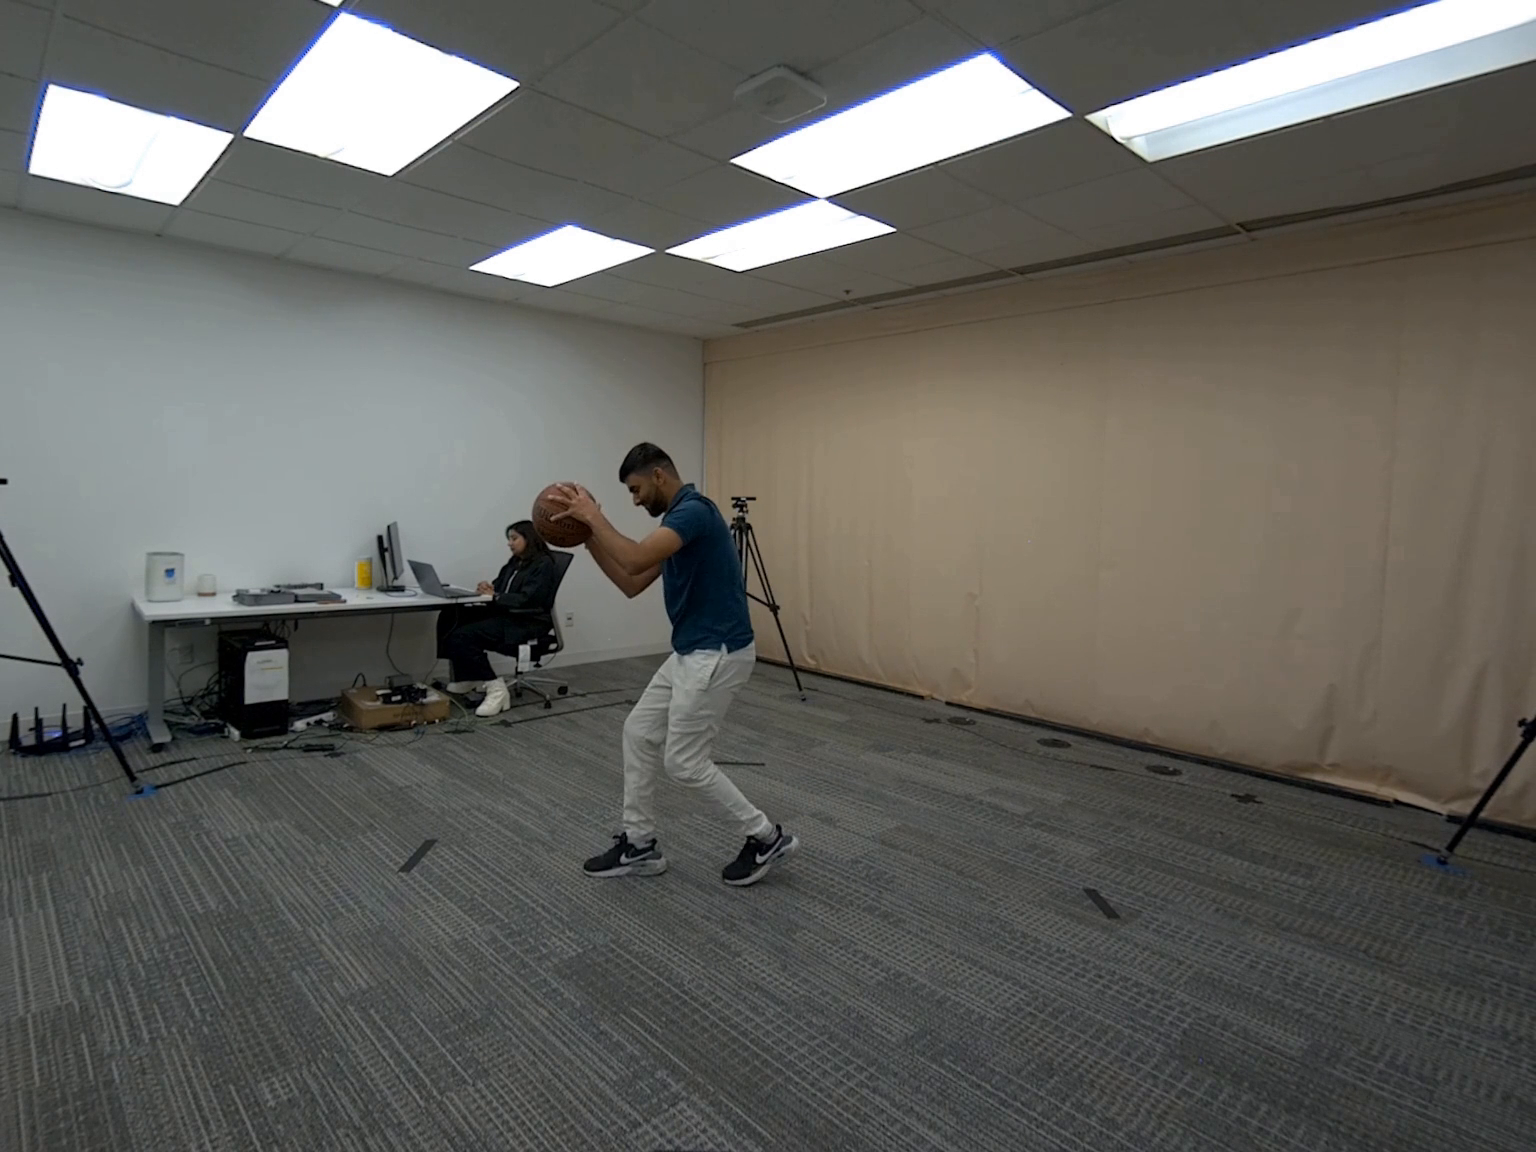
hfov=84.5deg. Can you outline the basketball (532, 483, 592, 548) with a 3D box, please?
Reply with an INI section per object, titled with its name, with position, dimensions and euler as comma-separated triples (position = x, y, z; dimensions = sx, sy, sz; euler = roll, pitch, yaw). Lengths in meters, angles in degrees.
[basketball]
position = -0.727, -0.224, 3.050
dimensions = 0.236, 0.235, 0.237
euler = 1, 4, -1
